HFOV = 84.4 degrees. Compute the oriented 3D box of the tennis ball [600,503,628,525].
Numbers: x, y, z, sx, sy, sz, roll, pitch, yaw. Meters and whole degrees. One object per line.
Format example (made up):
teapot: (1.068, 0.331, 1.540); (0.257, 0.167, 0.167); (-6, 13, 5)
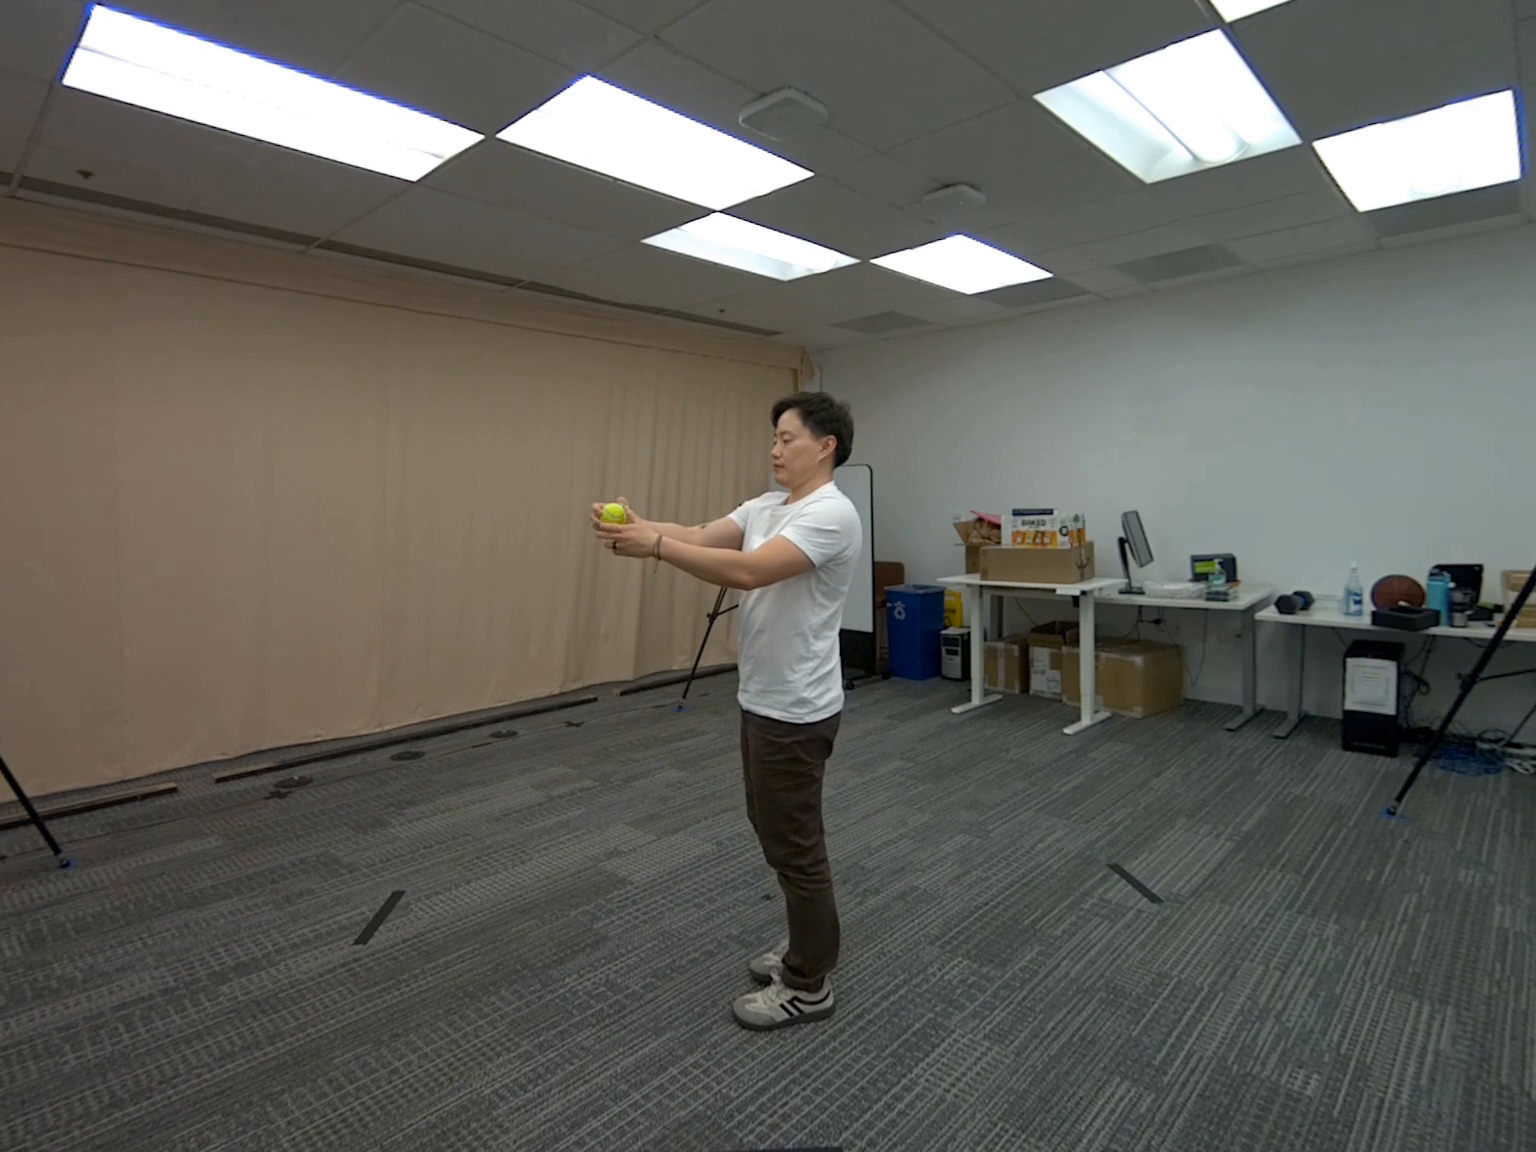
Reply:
tennis ball: (-0.379, -0.146, 2.142); (0.066, 0.066, 0.067); (-1, 4, -2)
